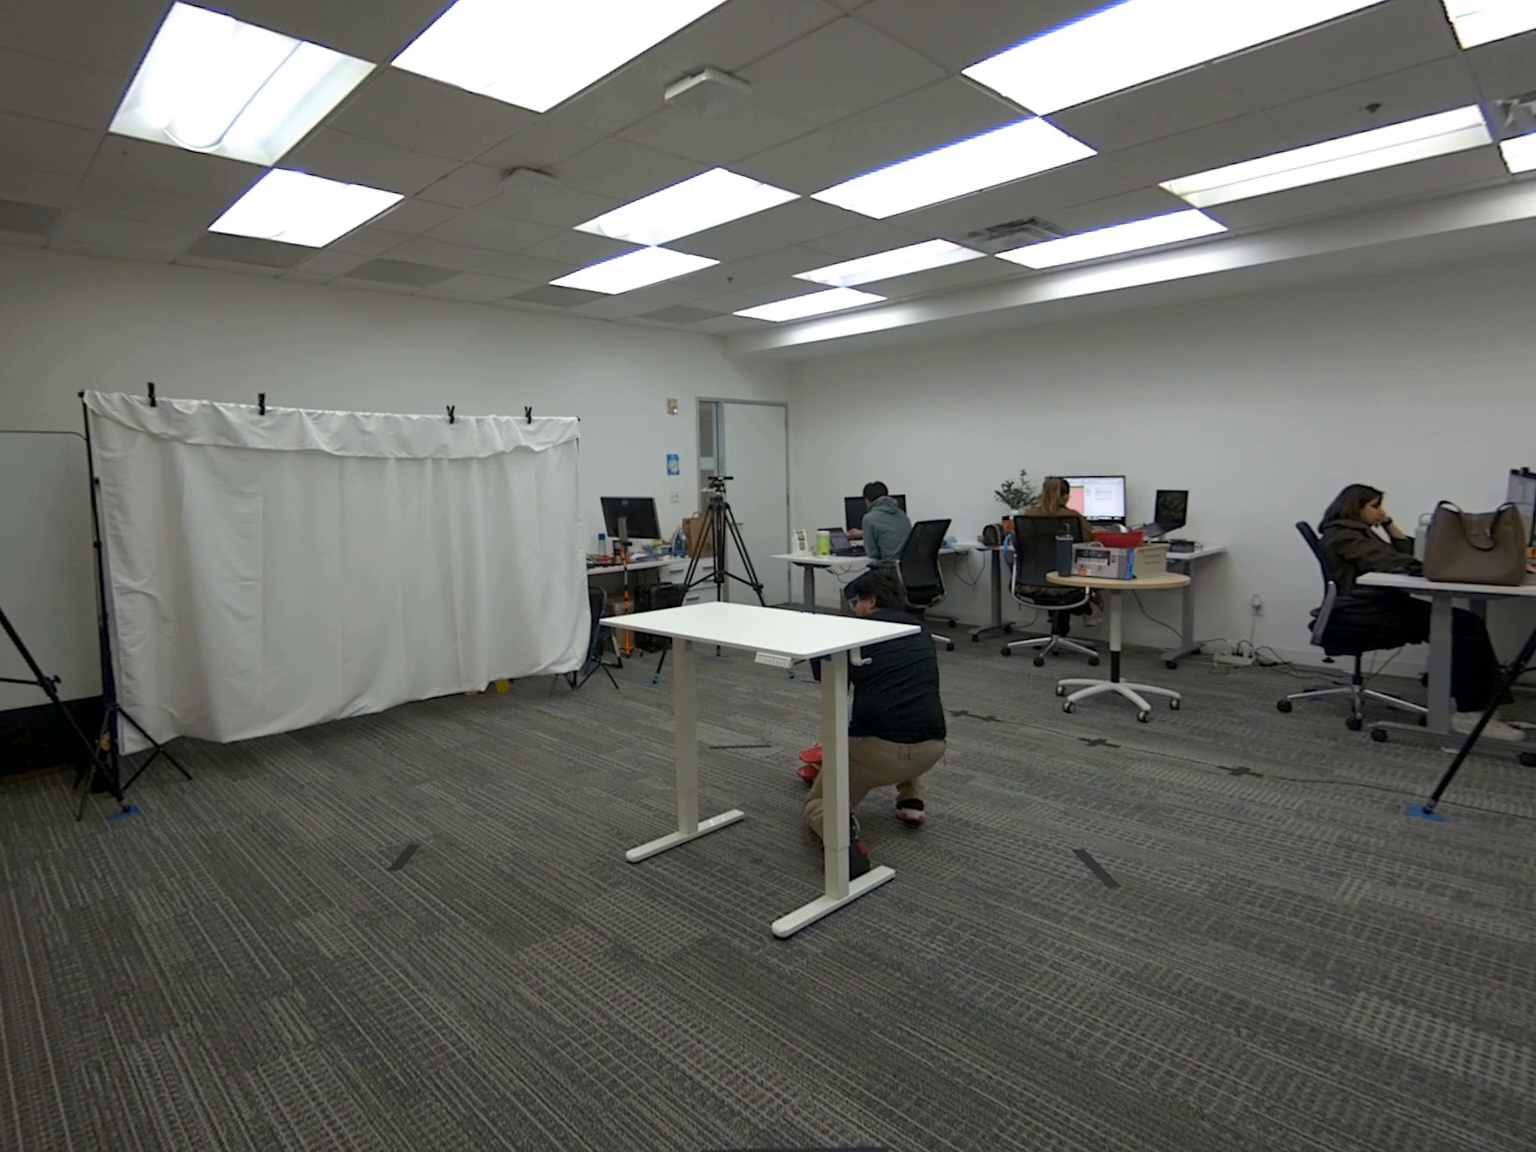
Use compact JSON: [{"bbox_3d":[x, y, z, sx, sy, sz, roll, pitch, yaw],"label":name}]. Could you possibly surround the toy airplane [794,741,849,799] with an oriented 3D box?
[{"bbox_3d":[0.284,0.869,3.874,0.265,0.156,0.247,0,6,23],"label":"toy airplane"}]
